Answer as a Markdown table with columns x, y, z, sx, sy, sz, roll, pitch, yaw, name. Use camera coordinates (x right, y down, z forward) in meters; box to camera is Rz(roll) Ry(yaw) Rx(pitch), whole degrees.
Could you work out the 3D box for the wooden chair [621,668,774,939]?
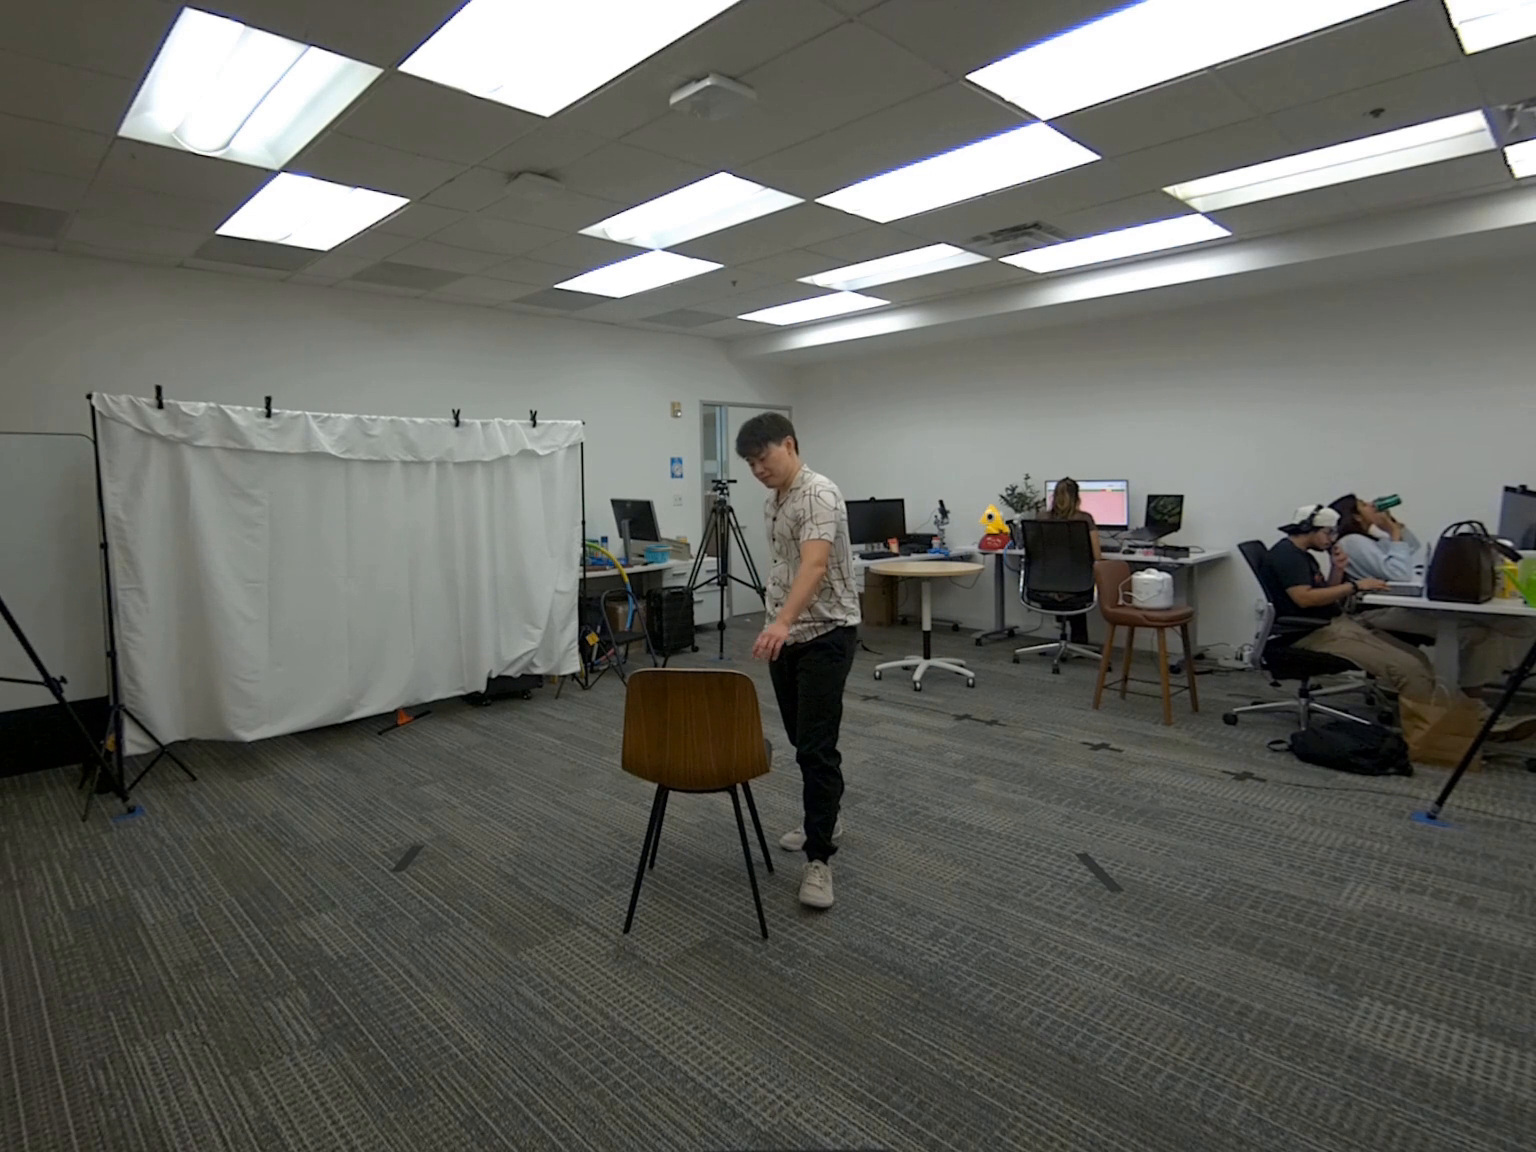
| x | y | z | sx | sy | sz | roll | pitch | yaw | name |
| --- | --- | --- | --- | --- | --- | --- | --- | --- | --- |
| -0.223 | 0.655 | 2.820 | 0.480 | 0.871 | 0.525 | -1 | 8 | 4 | wooden chair |
